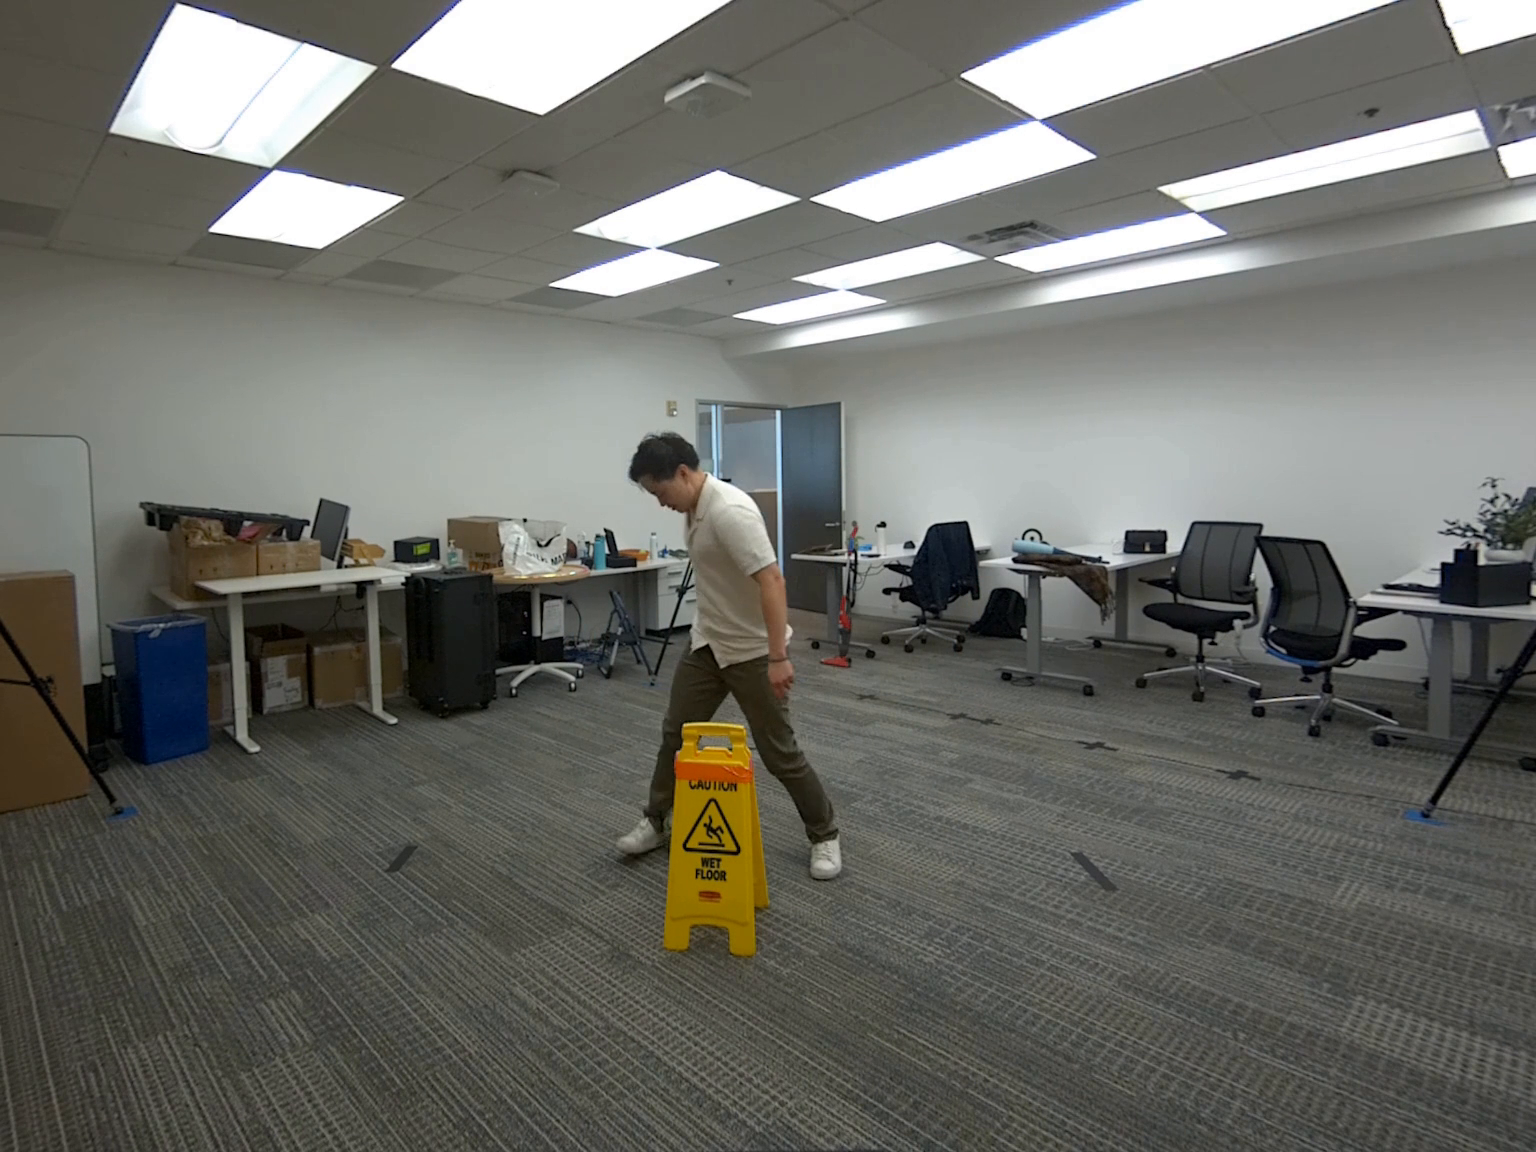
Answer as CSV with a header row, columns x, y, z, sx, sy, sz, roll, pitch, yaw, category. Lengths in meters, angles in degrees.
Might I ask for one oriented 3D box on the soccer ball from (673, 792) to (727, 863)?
x,y,z,sx,sy,sz,roll,pitch,yaw,category
-0.253,0.935,3.206,0.187,0.187,0.188,-1,5,-2,soccer ball
